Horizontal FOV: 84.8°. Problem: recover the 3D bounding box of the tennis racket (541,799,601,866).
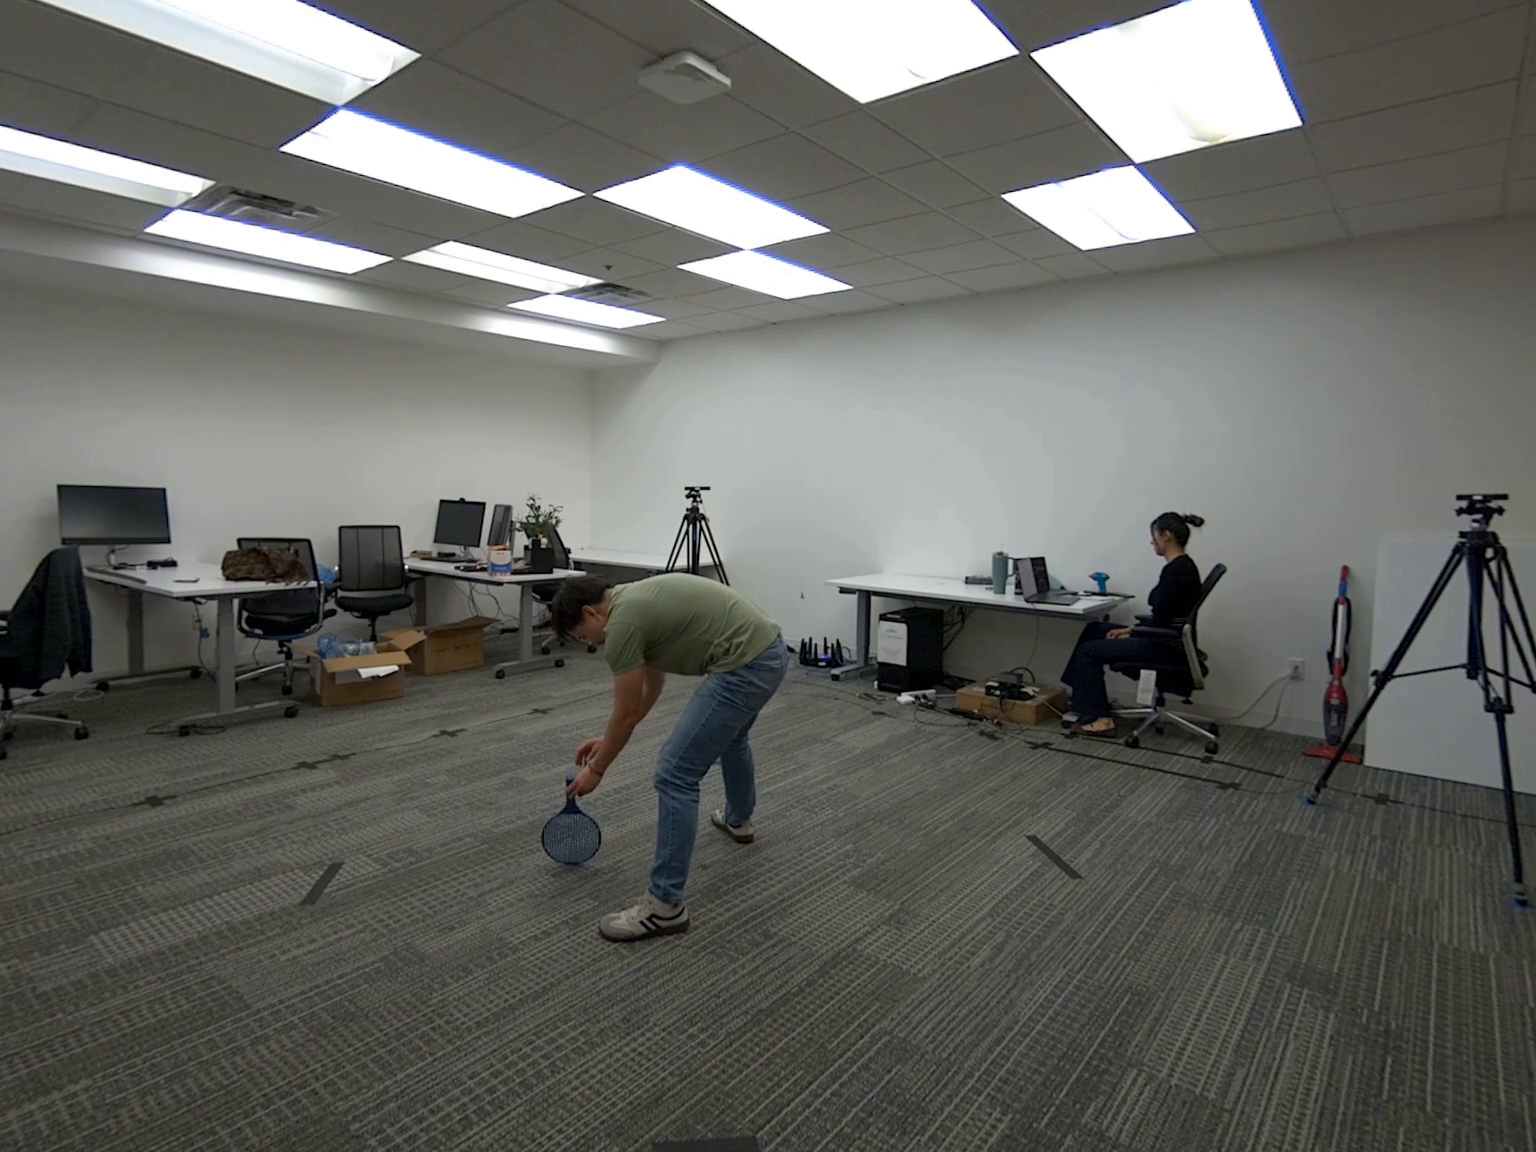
[{"bbox_3d":[-0.718,0.879,3.012,0.212,0.423,0.032,1,29,-5],"label":"tennis racket"}]
